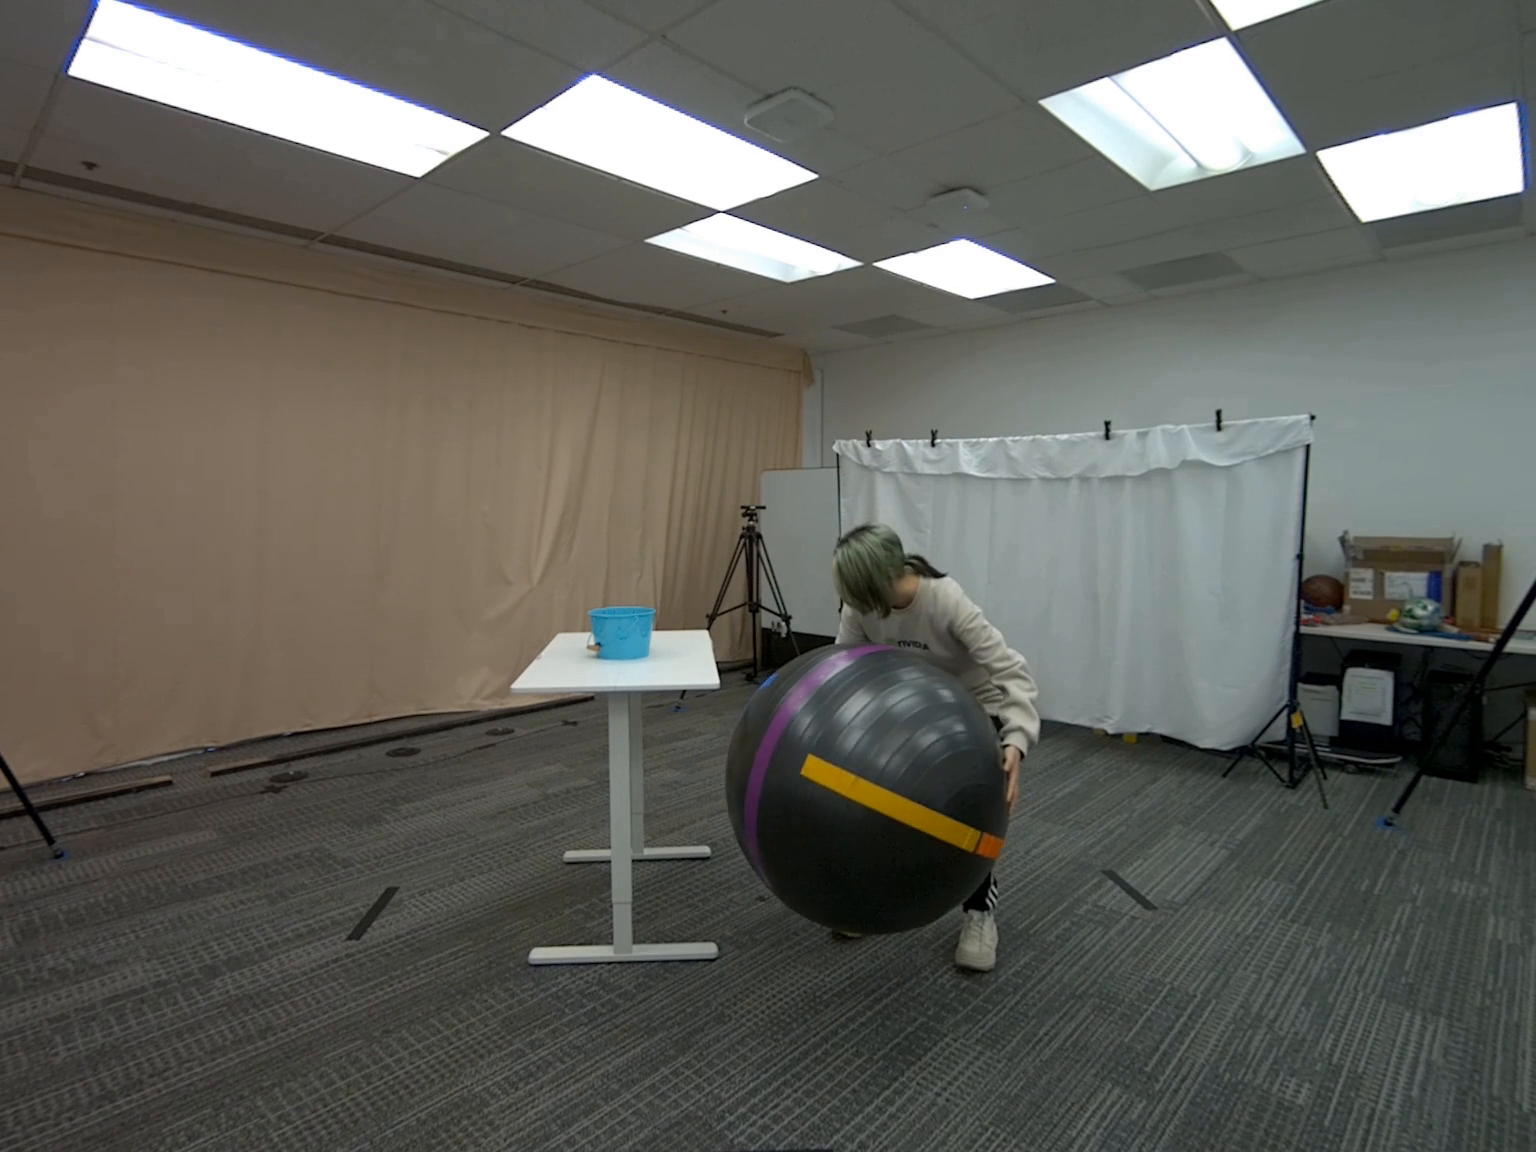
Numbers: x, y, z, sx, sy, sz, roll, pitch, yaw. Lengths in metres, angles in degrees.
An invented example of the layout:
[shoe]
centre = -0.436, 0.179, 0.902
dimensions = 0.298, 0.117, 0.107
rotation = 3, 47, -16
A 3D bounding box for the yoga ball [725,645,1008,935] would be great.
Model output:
[yoga ball]
centre = 0.264, 0.555, 2.284
dimensions = 0.757, 0.756, 0.760
rotation = 0, 4, -2
